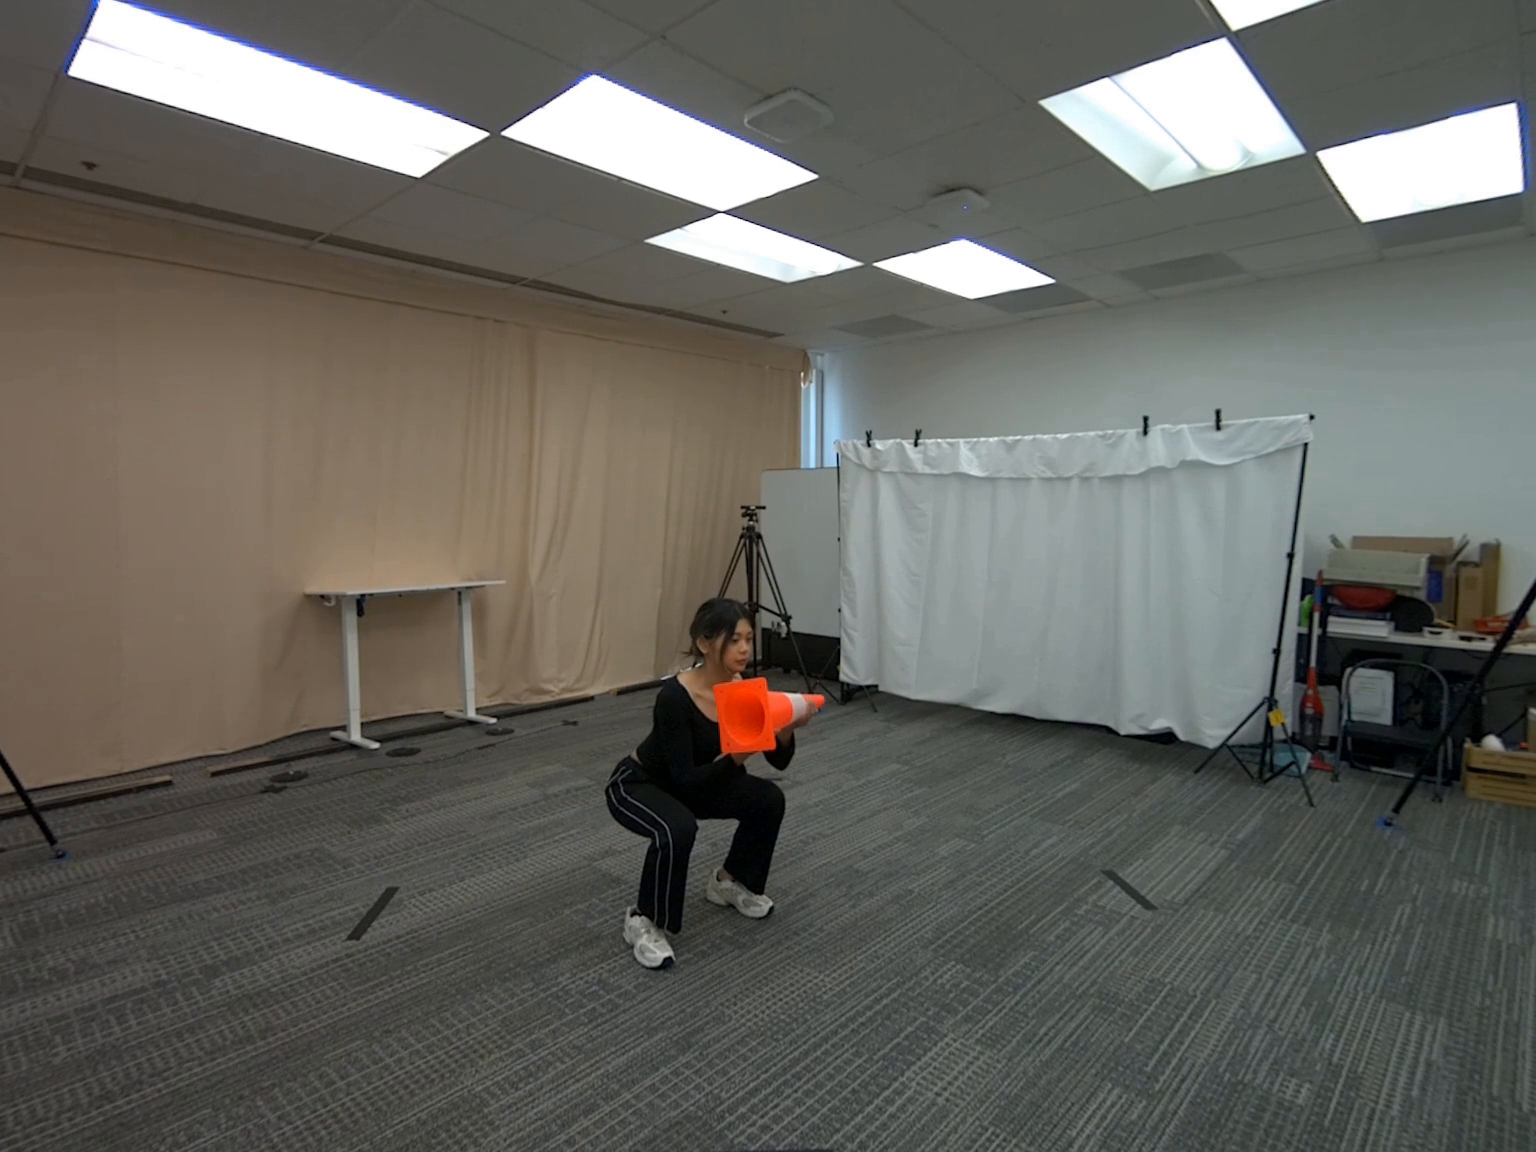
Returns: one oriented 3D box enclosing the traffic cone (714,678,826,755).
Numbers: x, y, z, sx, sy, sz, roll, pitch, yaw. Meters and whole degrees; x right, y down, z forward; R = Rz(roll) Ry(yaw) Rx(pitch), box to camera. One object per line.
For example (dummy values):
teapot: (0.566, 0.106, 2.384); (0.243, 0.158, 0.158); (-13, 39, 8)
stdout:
traffic cone: (0.049, 0.396, 2.523); (0.208, 0.206, 0.371); (-17, -10, 40)
